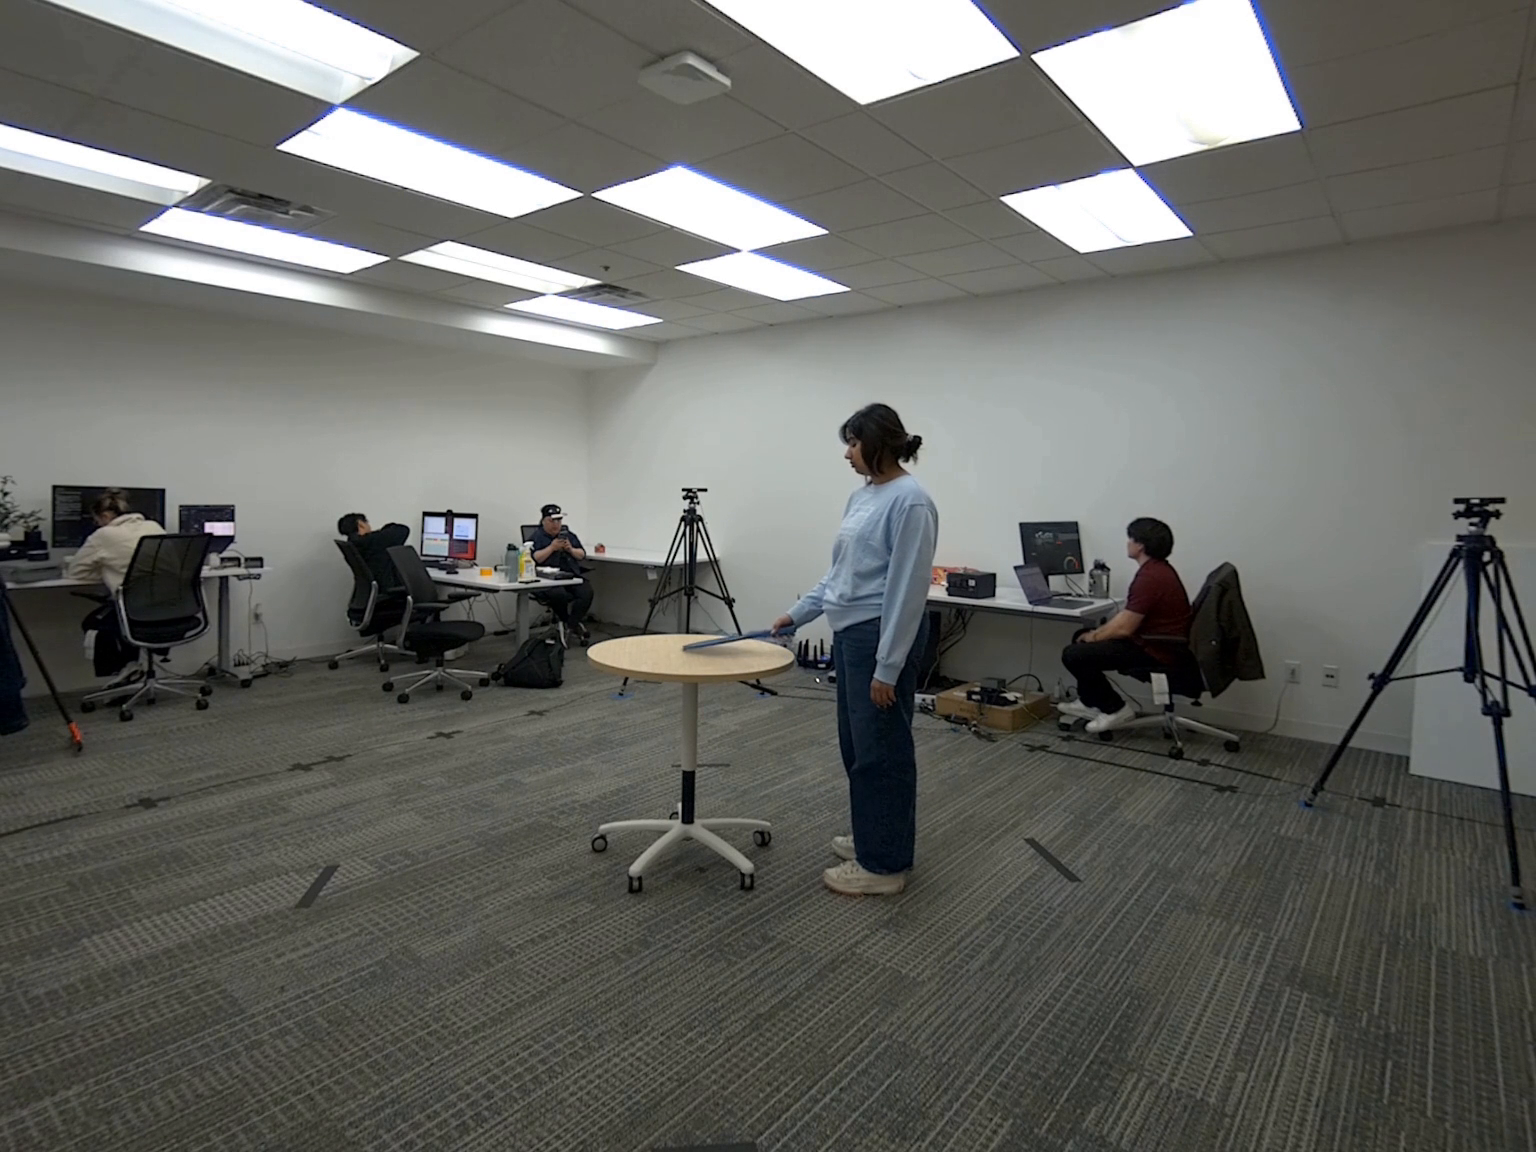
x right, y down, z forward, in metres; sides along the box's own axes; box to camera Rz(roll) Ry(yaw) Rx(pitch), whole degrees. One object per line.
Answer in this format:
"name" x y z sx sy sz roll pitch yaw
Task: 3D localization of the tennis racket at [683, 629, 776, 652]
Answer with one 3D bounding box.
"tennis racket" -0.130 0.235 3.183 0.438 0.032 0.210 -9 0 14
